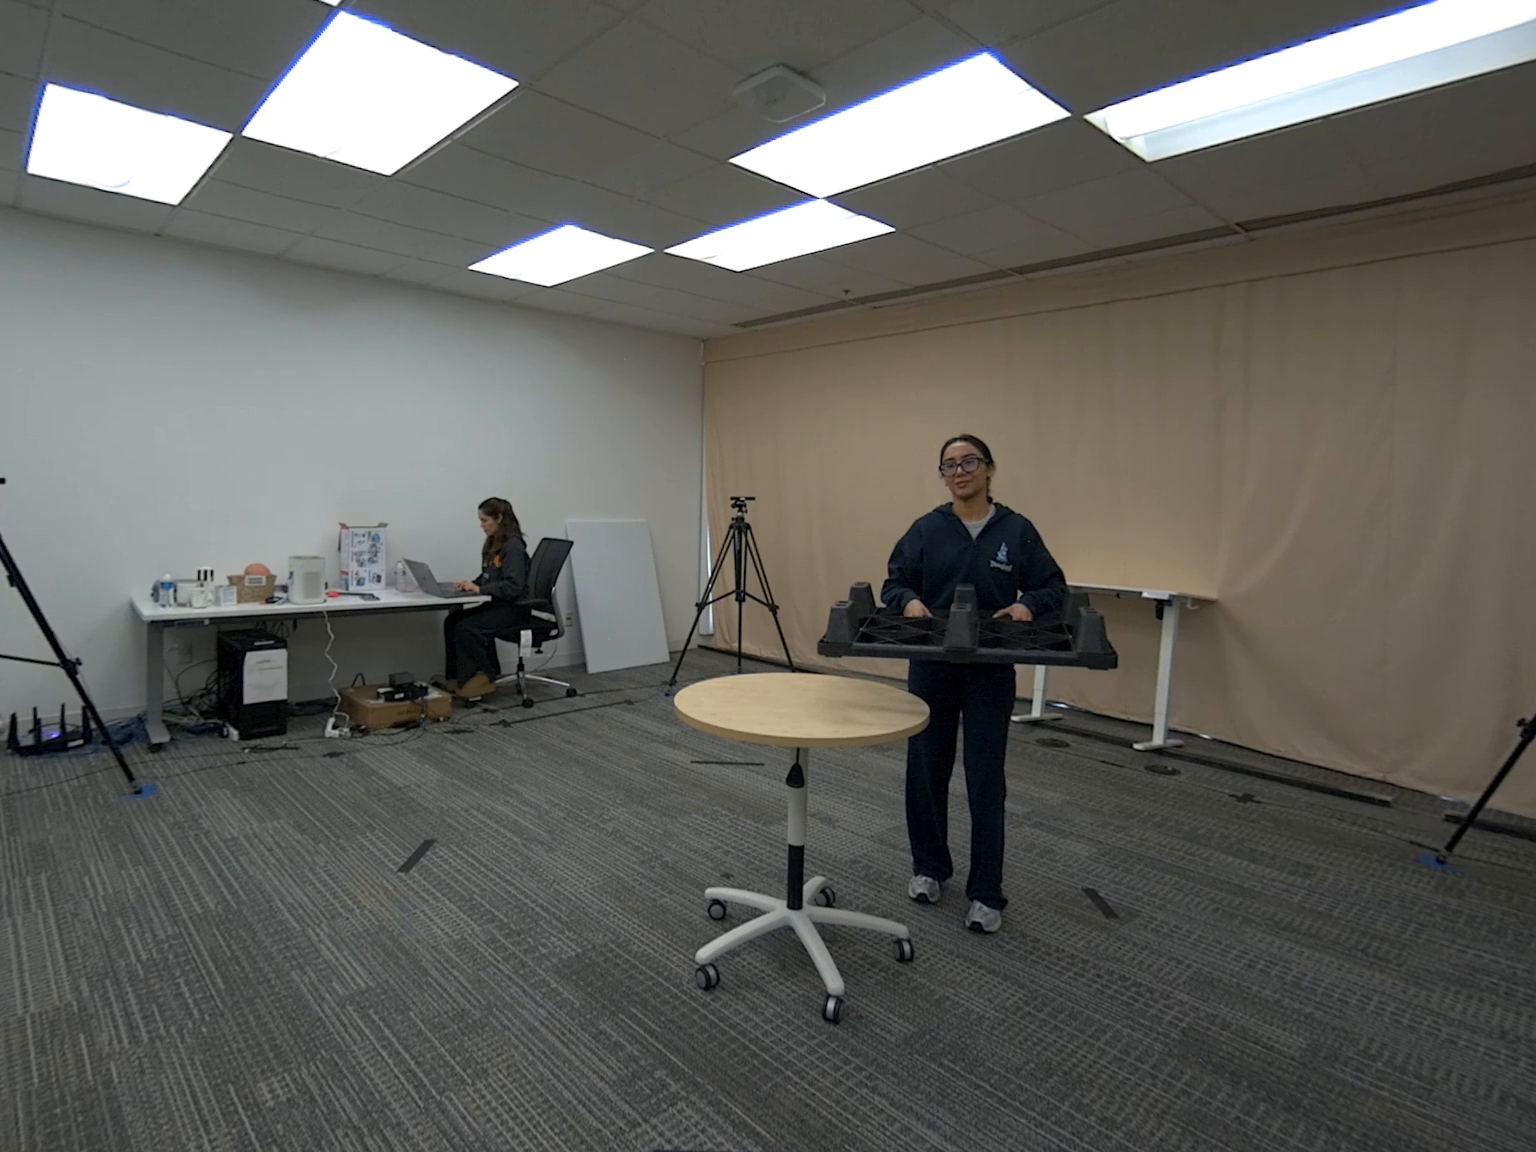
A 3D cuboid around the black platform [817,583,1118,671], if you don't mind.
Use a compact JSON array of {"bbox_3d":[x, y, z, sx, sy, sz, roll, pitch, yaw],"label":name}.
[{"bbox_3d":[0.588,0.130,2.583,0.816,0.142,0.600,1,8,16],"label":"black platform"}]
